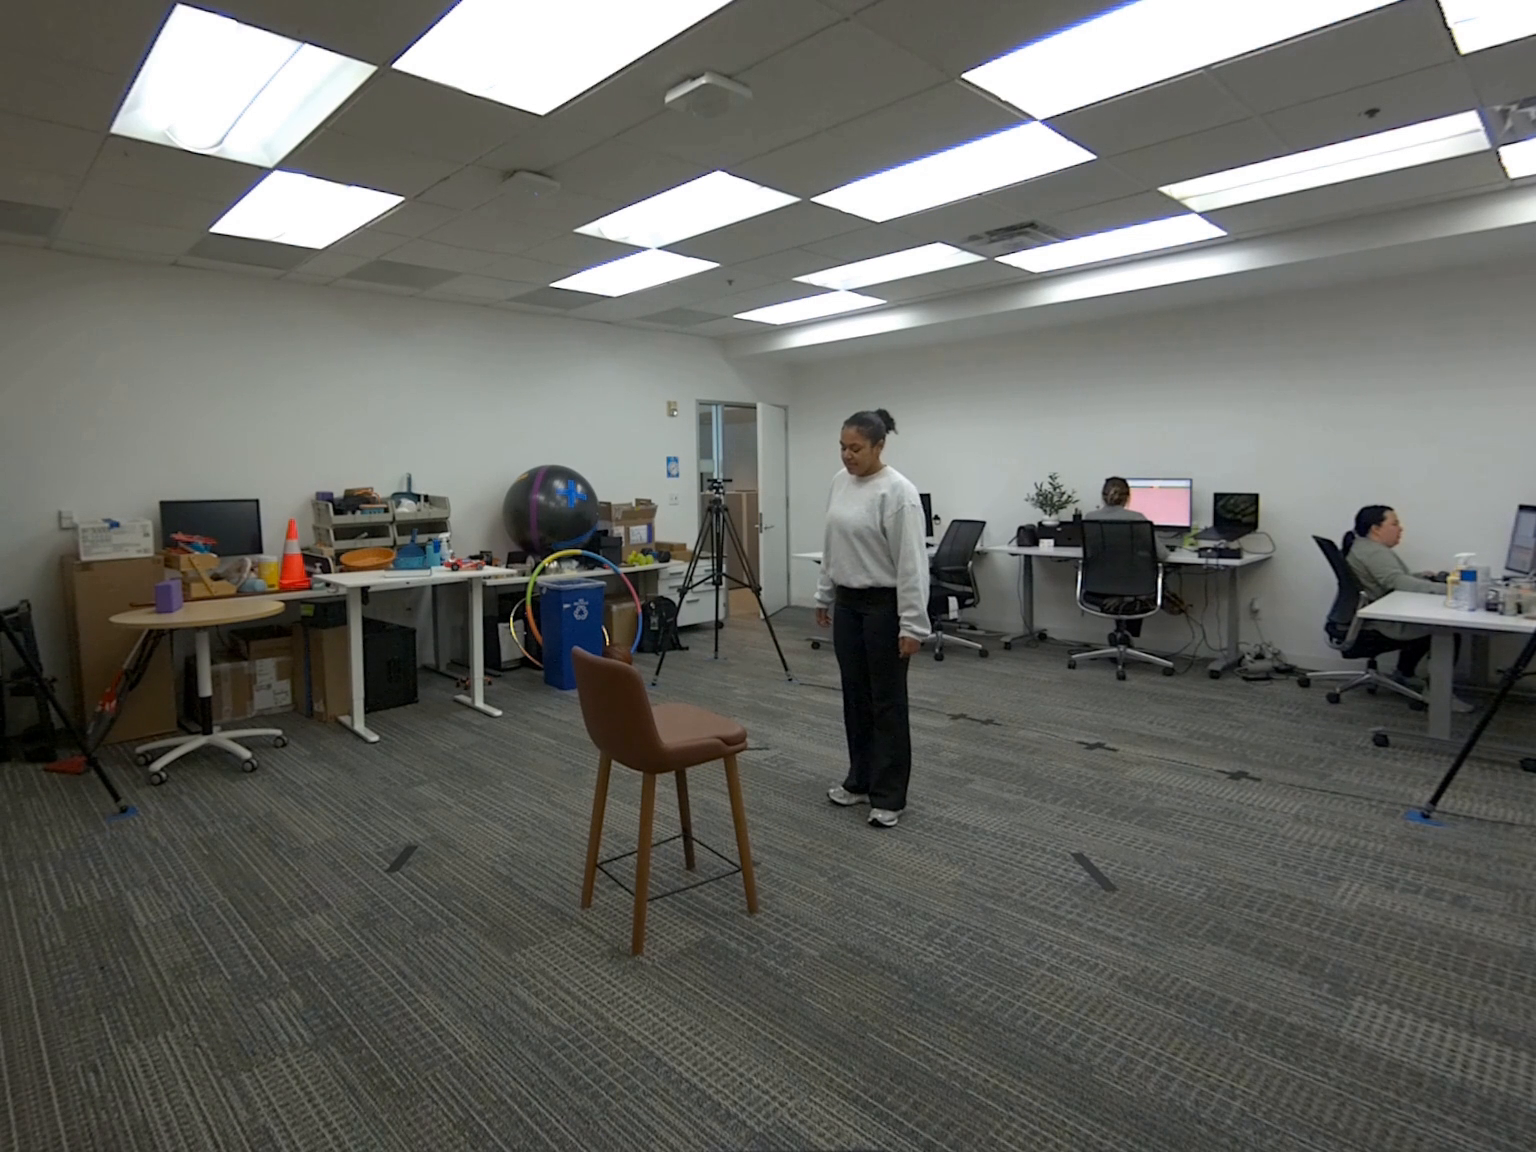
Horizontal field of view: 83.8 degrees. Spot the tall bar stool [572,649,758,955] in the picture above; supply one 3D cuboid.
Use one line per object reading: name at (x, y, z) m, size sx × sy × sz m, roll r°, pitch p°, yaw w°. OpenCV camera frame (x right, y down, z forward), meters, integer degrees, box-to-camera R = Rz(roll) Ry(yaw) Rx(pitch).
tall bar stool at (-0.340, 0.655, 2.762) m, size 0.456 × 0.885 × 0.470 m, roll -7°, pitch 7°, yaw -36°
